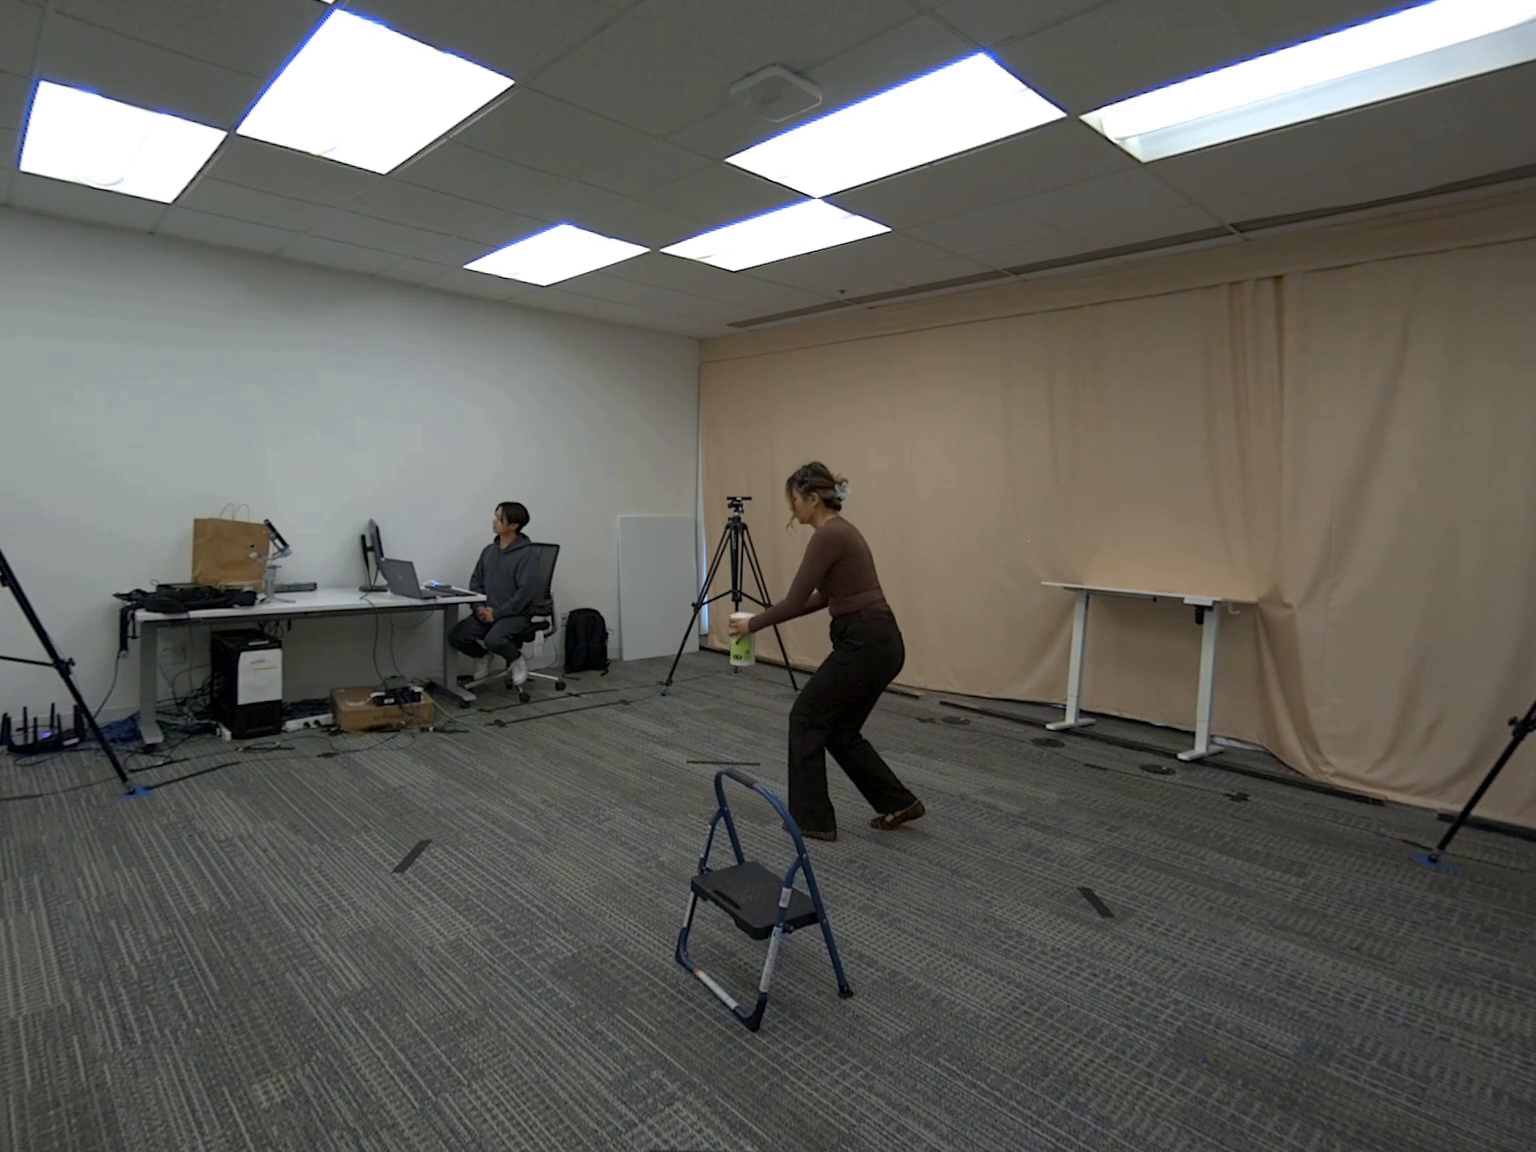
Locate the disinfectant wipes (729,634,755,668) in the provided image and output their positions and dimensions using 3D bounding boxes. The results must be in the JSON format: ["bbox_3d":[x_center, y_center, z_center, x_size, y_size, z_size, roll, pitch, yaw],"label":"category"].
[{"bbox_3d":[-0.114,0.274,3.619,0.118,0.217,0.118,-2,4,-1],"label":"disinfectant wipes"}]
